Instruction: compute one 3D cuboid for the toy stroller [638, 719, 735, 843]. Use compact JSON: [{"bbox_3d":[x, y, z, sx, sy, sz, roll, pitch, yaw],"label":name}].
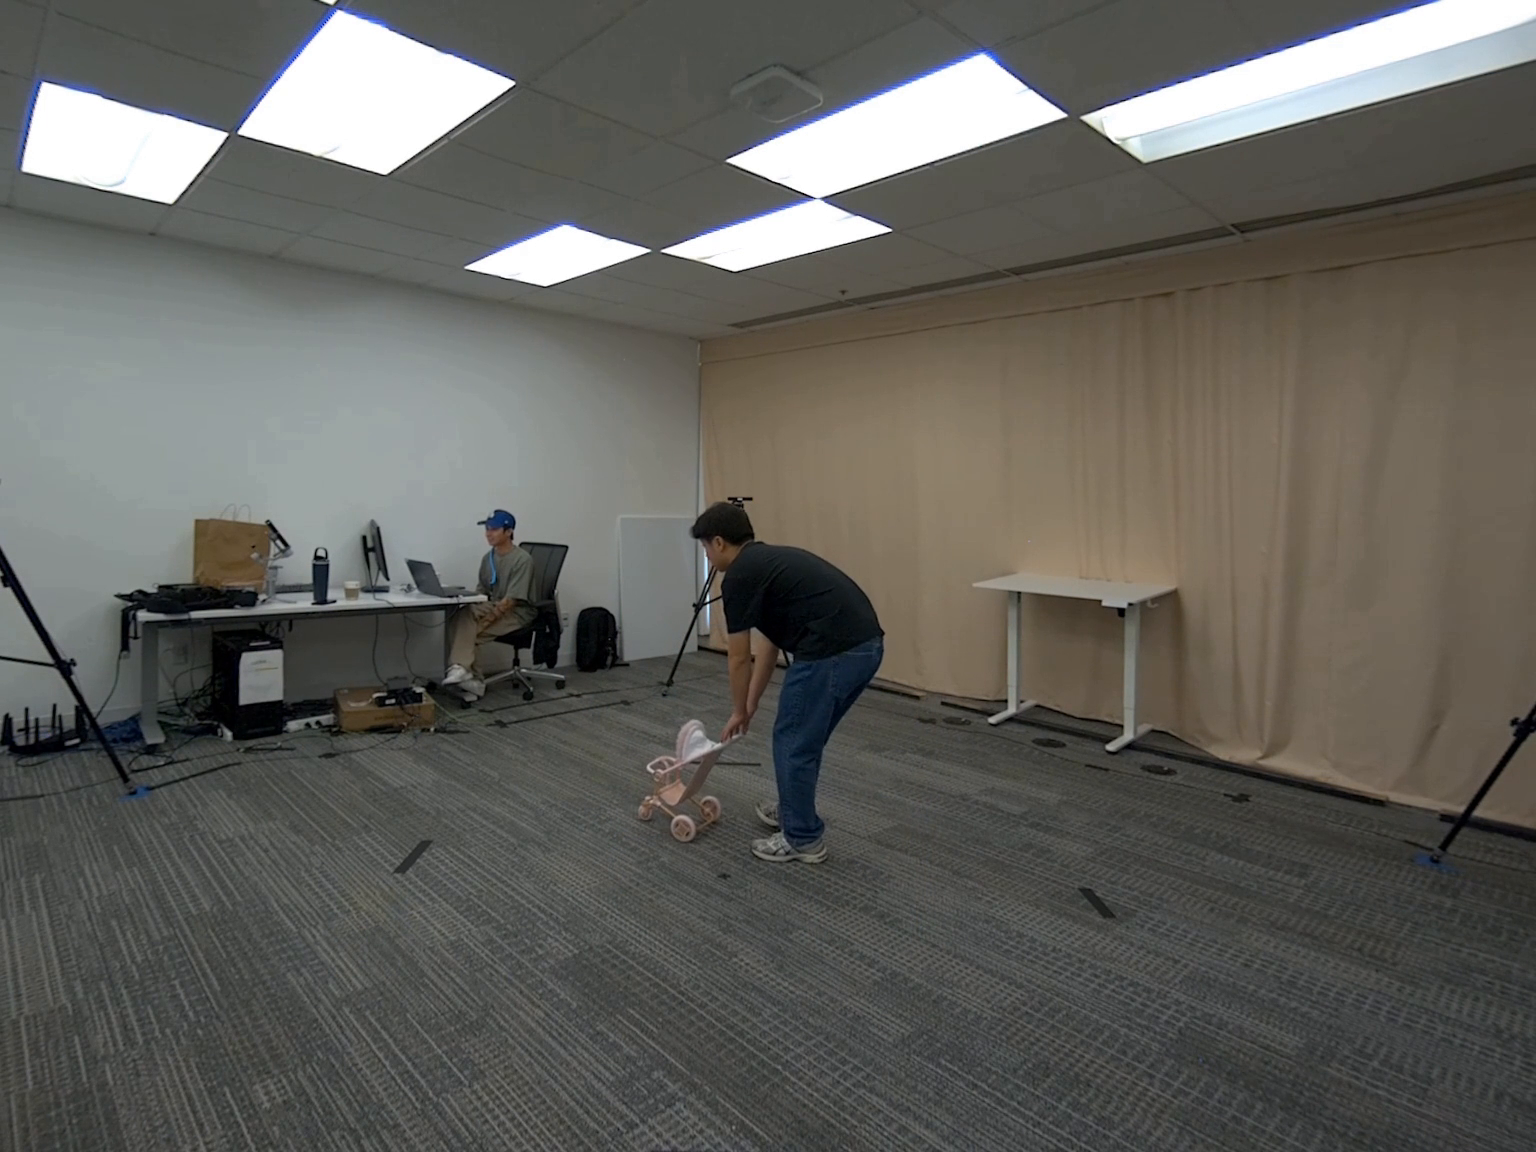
[{"bbox_3d":[-0.352,0.839,3.541,0.350,0.532,0.276,22,12,26],"label":"toy stroller"}]
